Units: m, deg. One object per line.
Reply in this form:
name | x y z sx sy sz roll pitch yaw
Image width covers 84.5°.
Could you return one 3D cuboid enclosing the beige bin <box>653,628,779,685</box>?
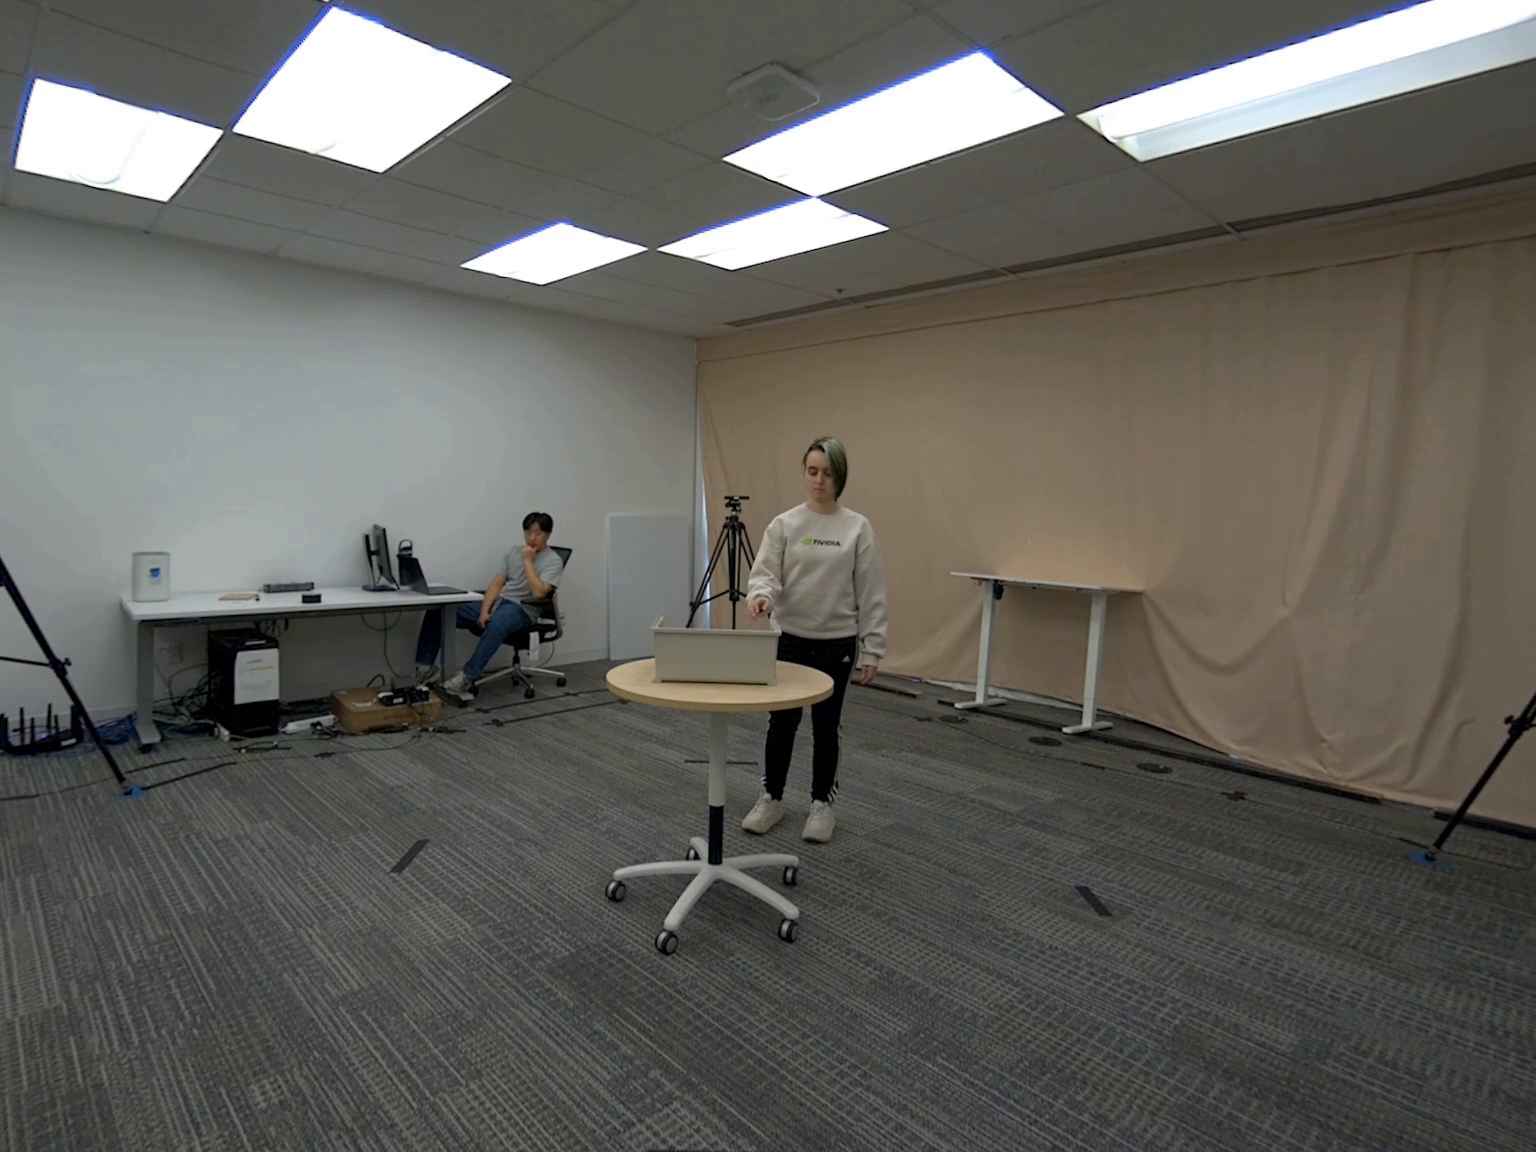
beige bin | -0.186 0.253 2.902 0.422 0.188 0.378 2 4 -1
